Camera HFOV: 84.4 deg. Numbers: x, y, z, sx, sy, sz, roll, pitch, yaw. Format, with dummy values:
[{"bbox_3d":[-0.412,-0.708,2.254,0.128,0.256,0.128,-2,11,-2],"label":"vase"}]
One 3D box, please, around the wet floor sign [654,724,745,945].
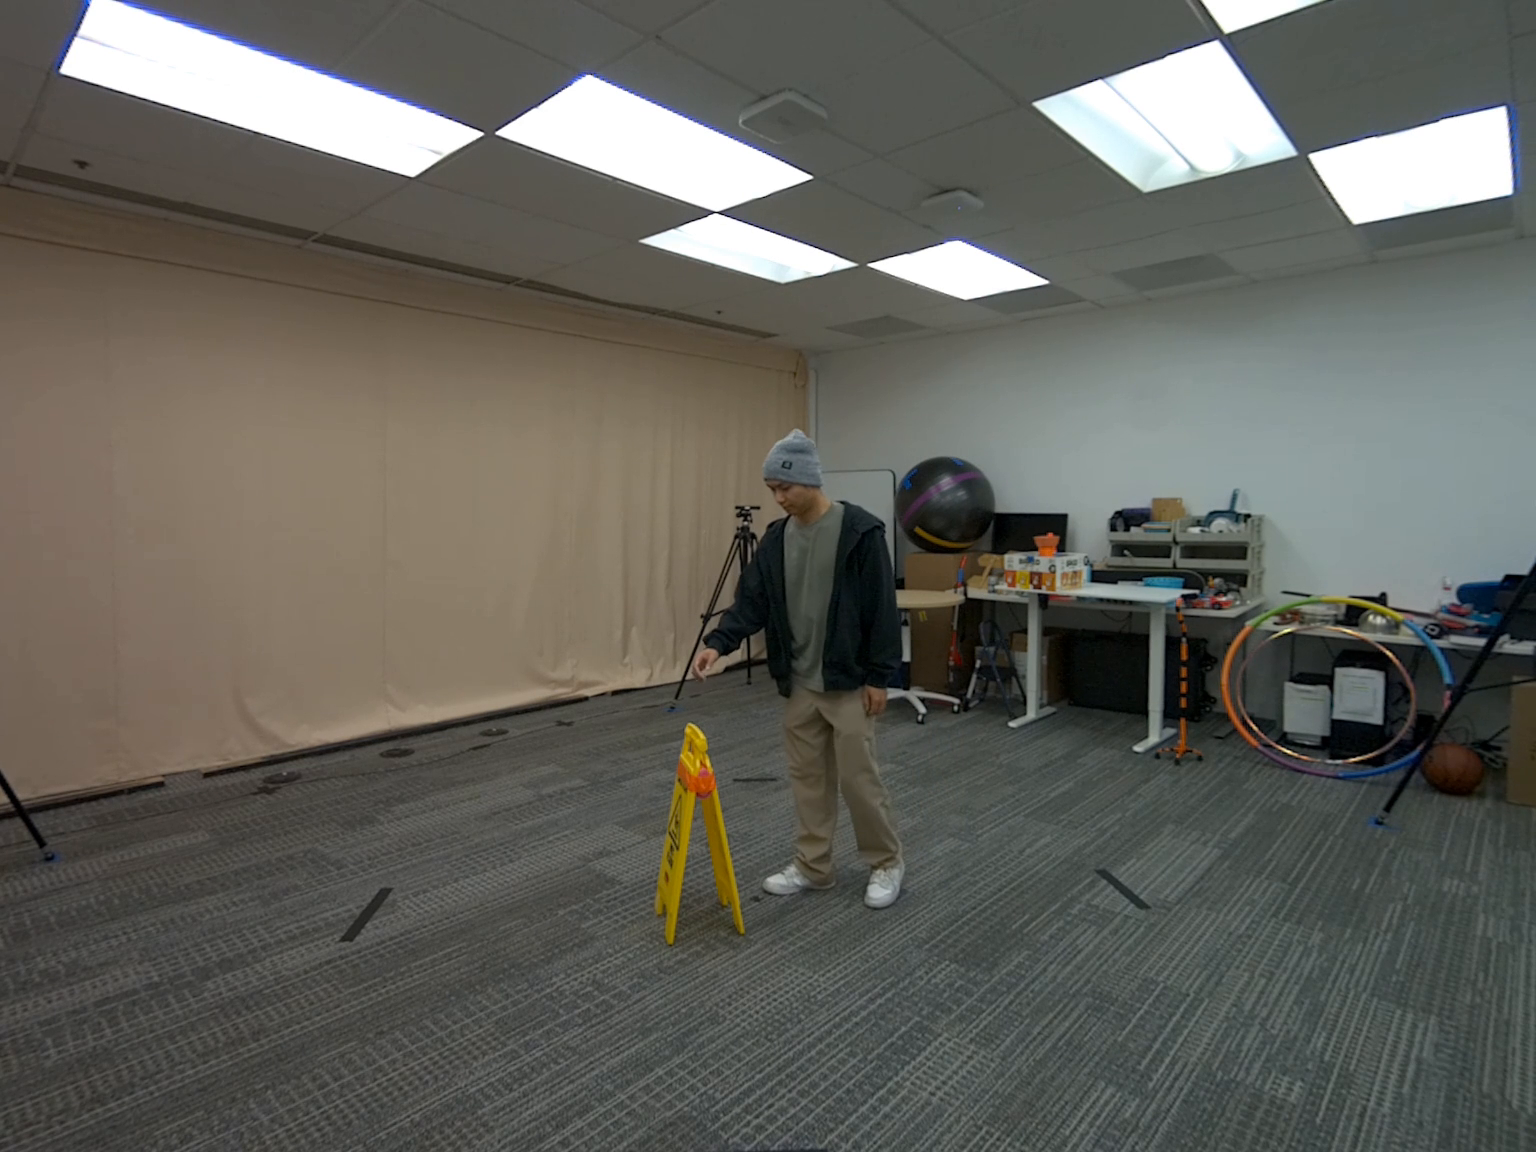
[{"bbox_3d":[-0.238,0.832,2.807,0.285,0.645,0.287,-2,2,-16],"label":"wet floor sign"}]
